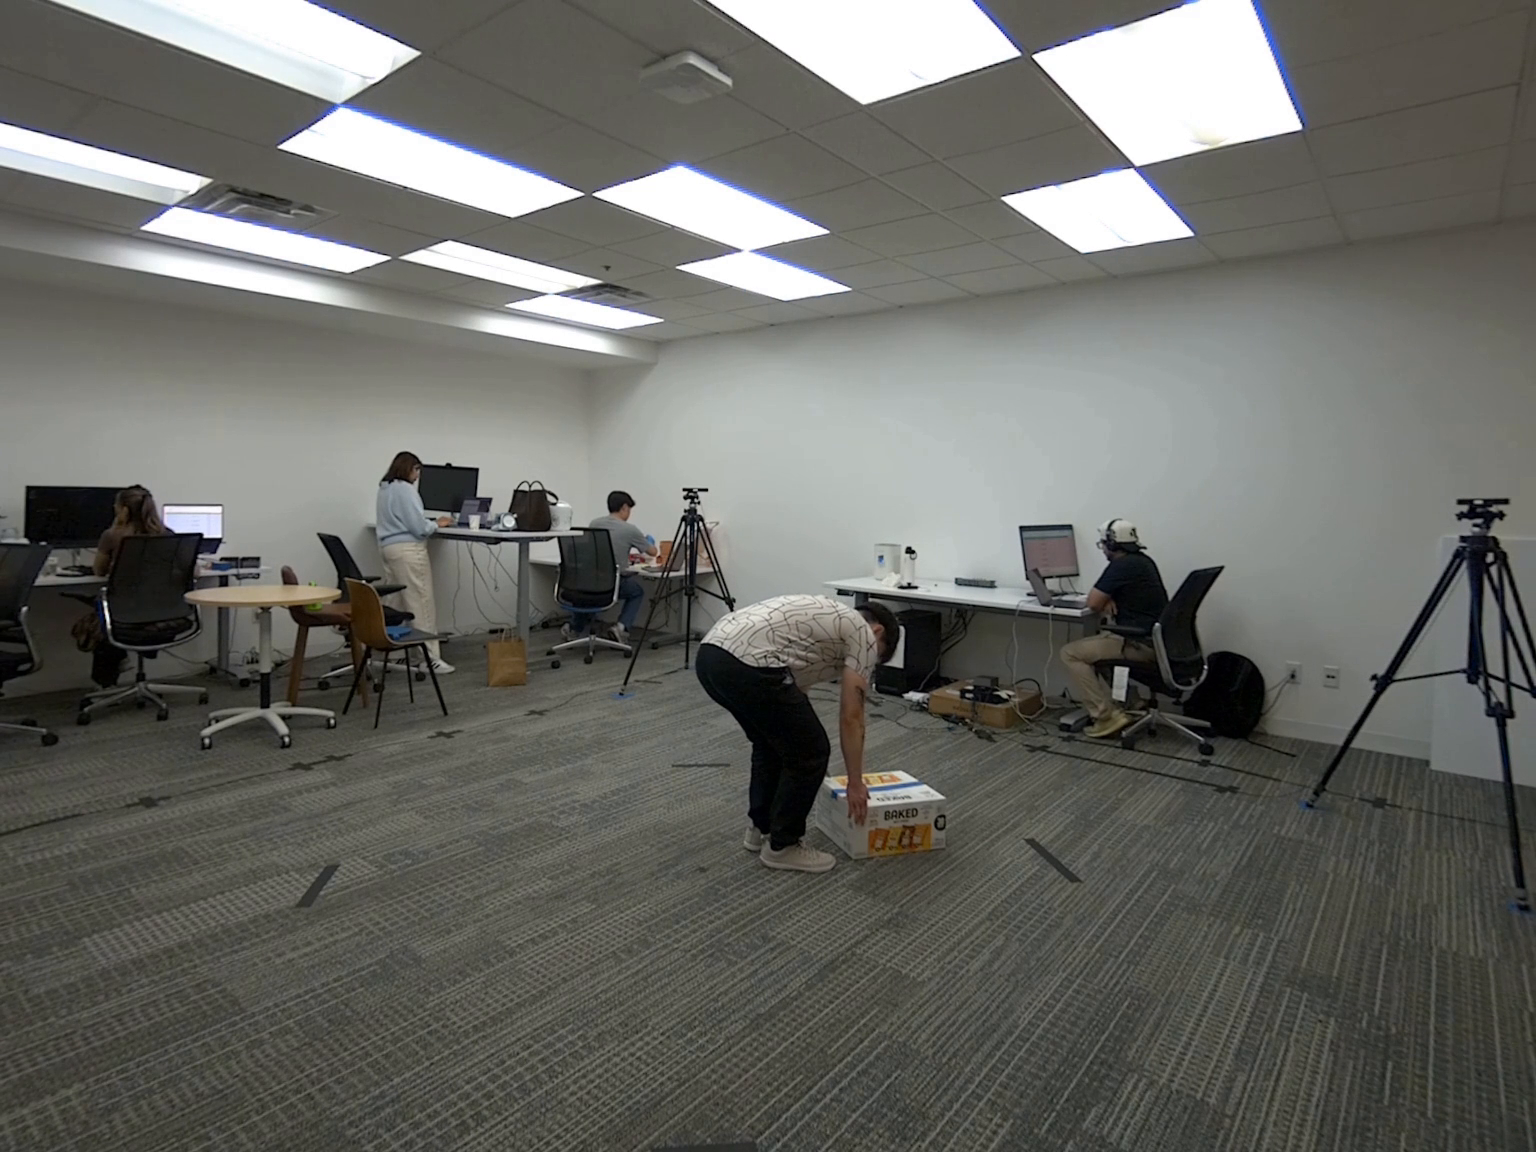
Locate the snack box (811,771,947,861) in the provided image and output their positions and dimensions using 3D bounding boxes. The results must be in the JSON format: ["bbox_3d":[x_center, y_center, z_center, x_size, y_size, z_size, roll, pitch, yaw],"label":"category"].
[{"bbox_3d":[0.448,0.951,3.430,0.397,0.205,0.348,-1,5,-20],"label":"snack box"}]
